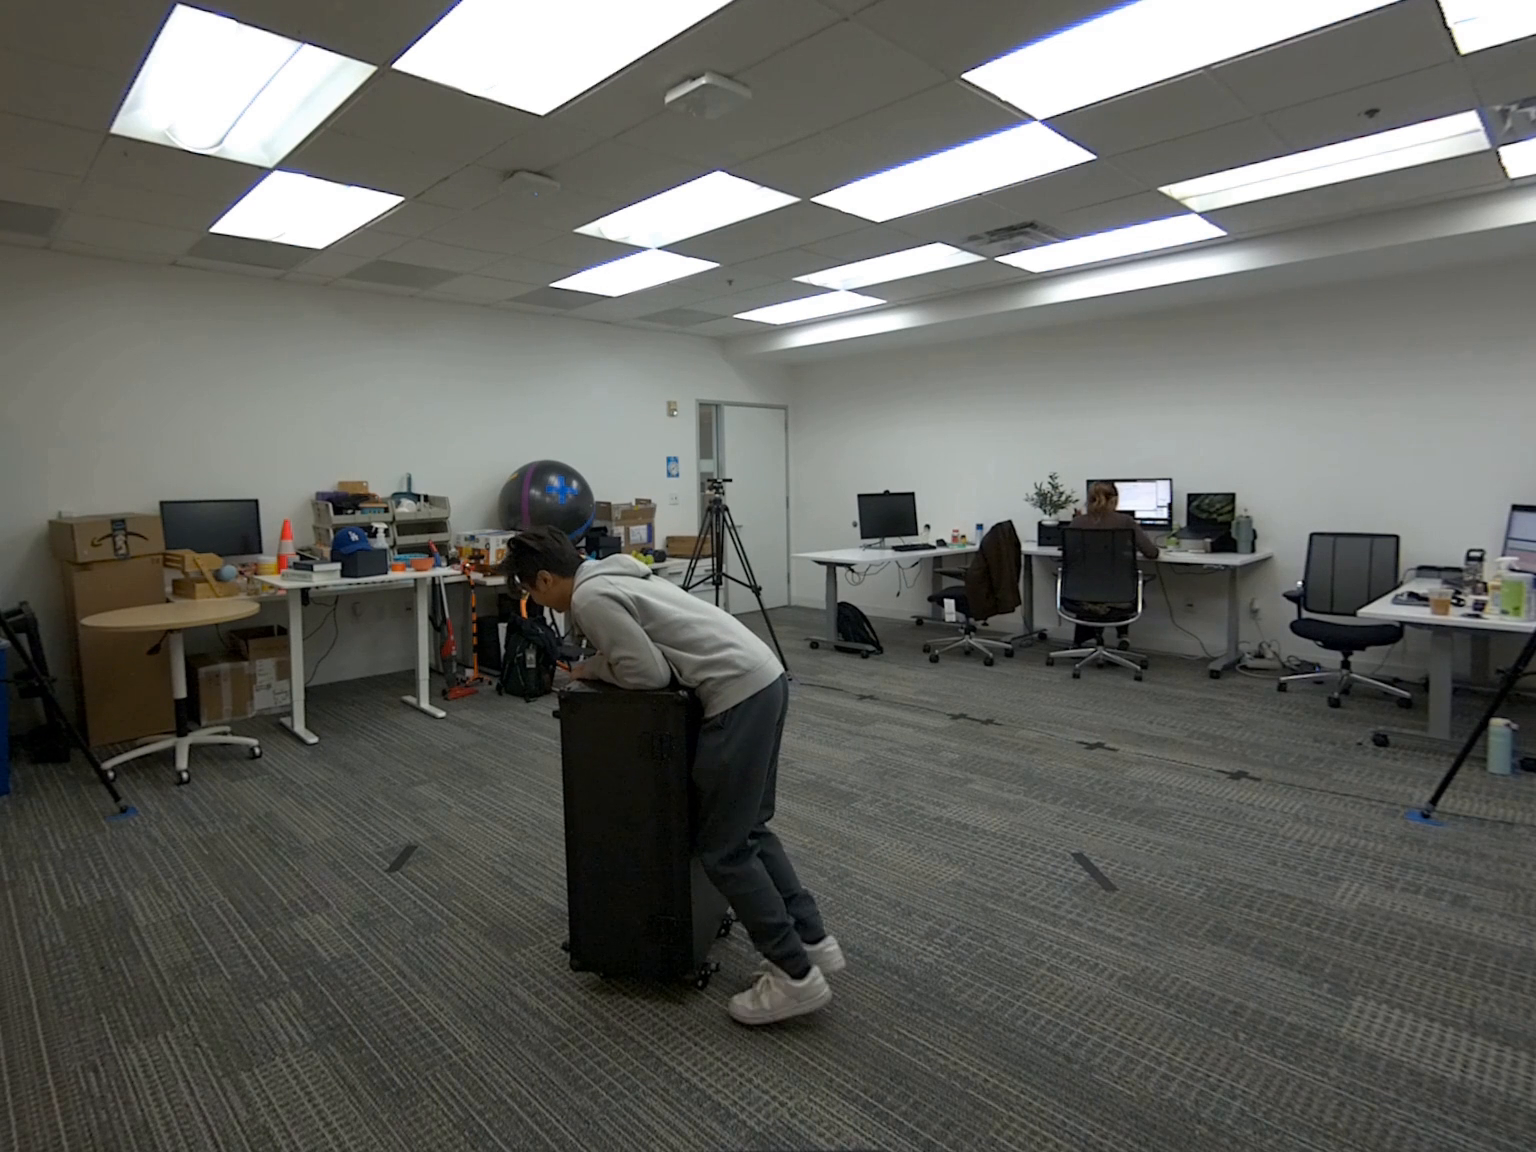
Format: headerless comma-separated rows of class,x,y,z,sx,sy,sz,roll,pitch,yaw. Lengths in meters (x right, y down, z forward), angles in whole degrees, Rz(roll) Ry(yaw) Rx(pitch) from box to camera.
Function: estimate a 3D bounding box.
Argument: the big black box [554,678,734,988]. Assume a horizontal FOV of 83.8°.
big black box,-0.344,0.704,2.496,0.402,0.858,0.516,-1,4,13
